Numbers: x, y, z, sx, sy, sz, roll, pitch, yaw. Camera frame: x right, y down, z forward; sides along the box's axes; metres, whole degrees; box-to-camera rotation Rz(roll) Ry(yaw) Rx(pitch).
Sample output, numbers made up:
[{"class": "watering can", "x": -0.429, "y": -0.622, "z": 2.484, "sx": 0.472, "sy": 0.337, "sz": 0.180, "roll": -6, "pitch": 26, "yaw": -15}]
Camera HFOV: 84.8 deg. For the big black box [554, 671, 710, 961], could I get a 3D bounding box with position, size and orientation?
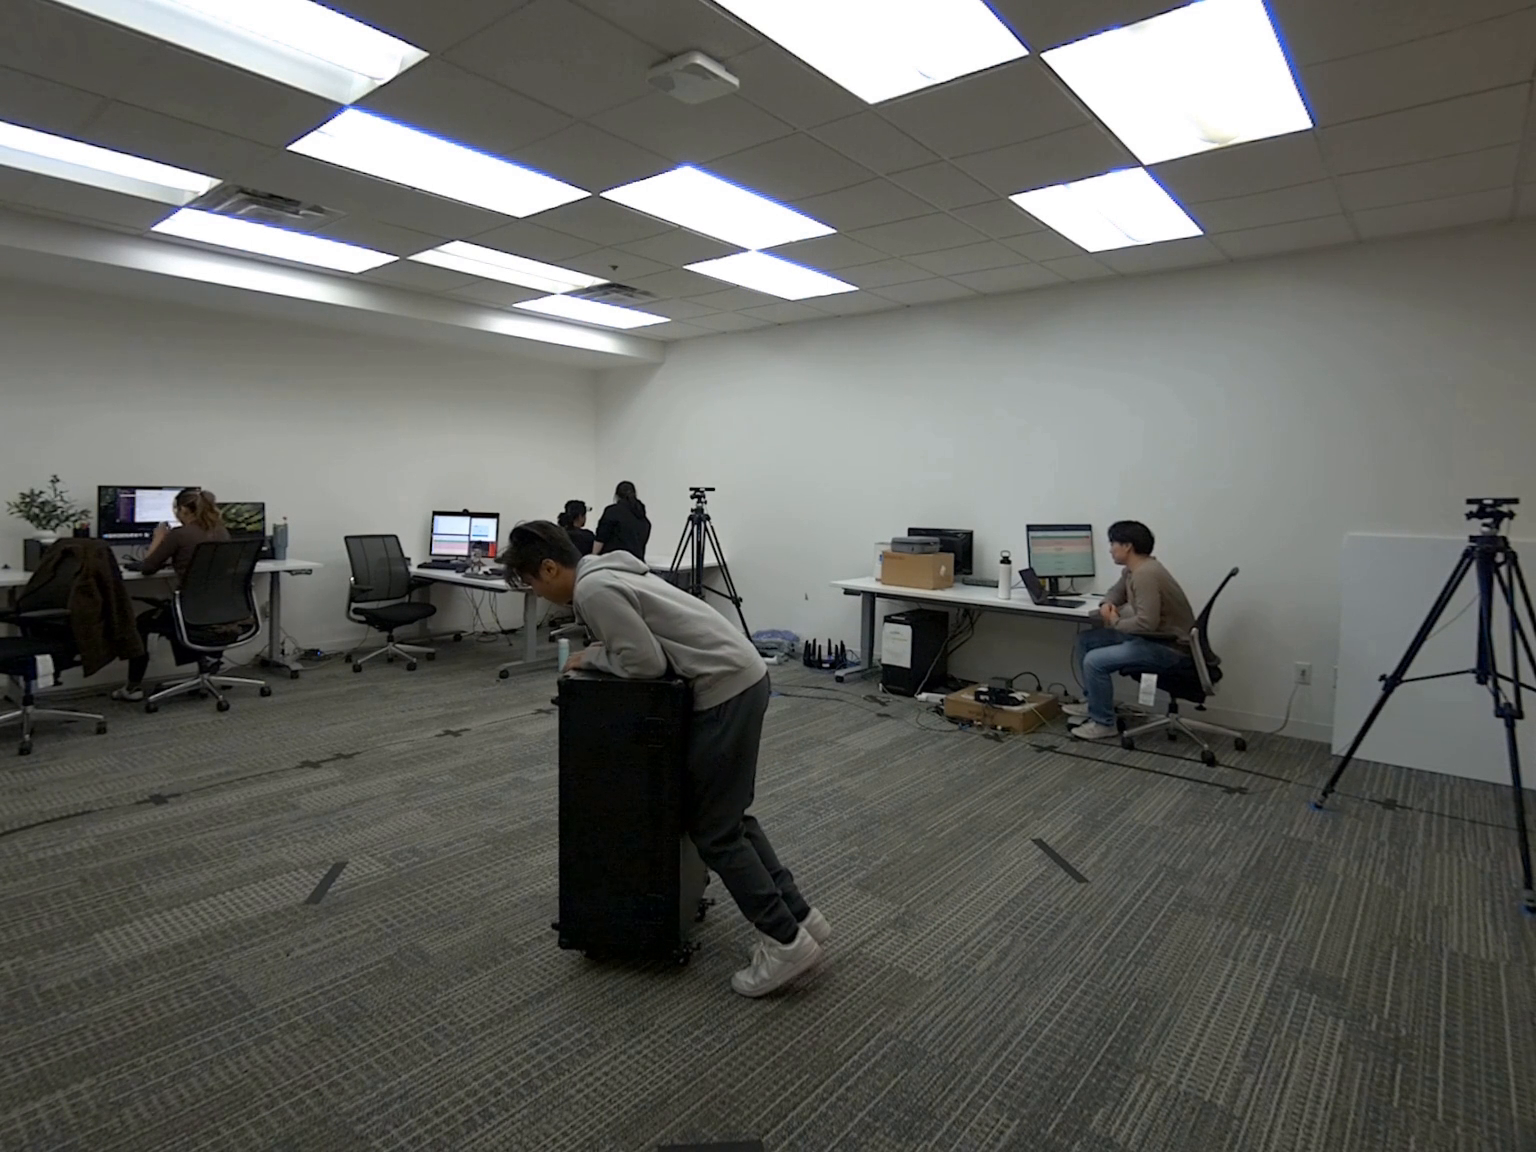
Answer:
[{"class": "big black box", "x": -0.425, "y": 0.690, "z": 2.613, "sx": 0.400, "sy": 0.860, "sz": 0.517, "roll": 1, "pitch": 3, "yaw": 8}]
